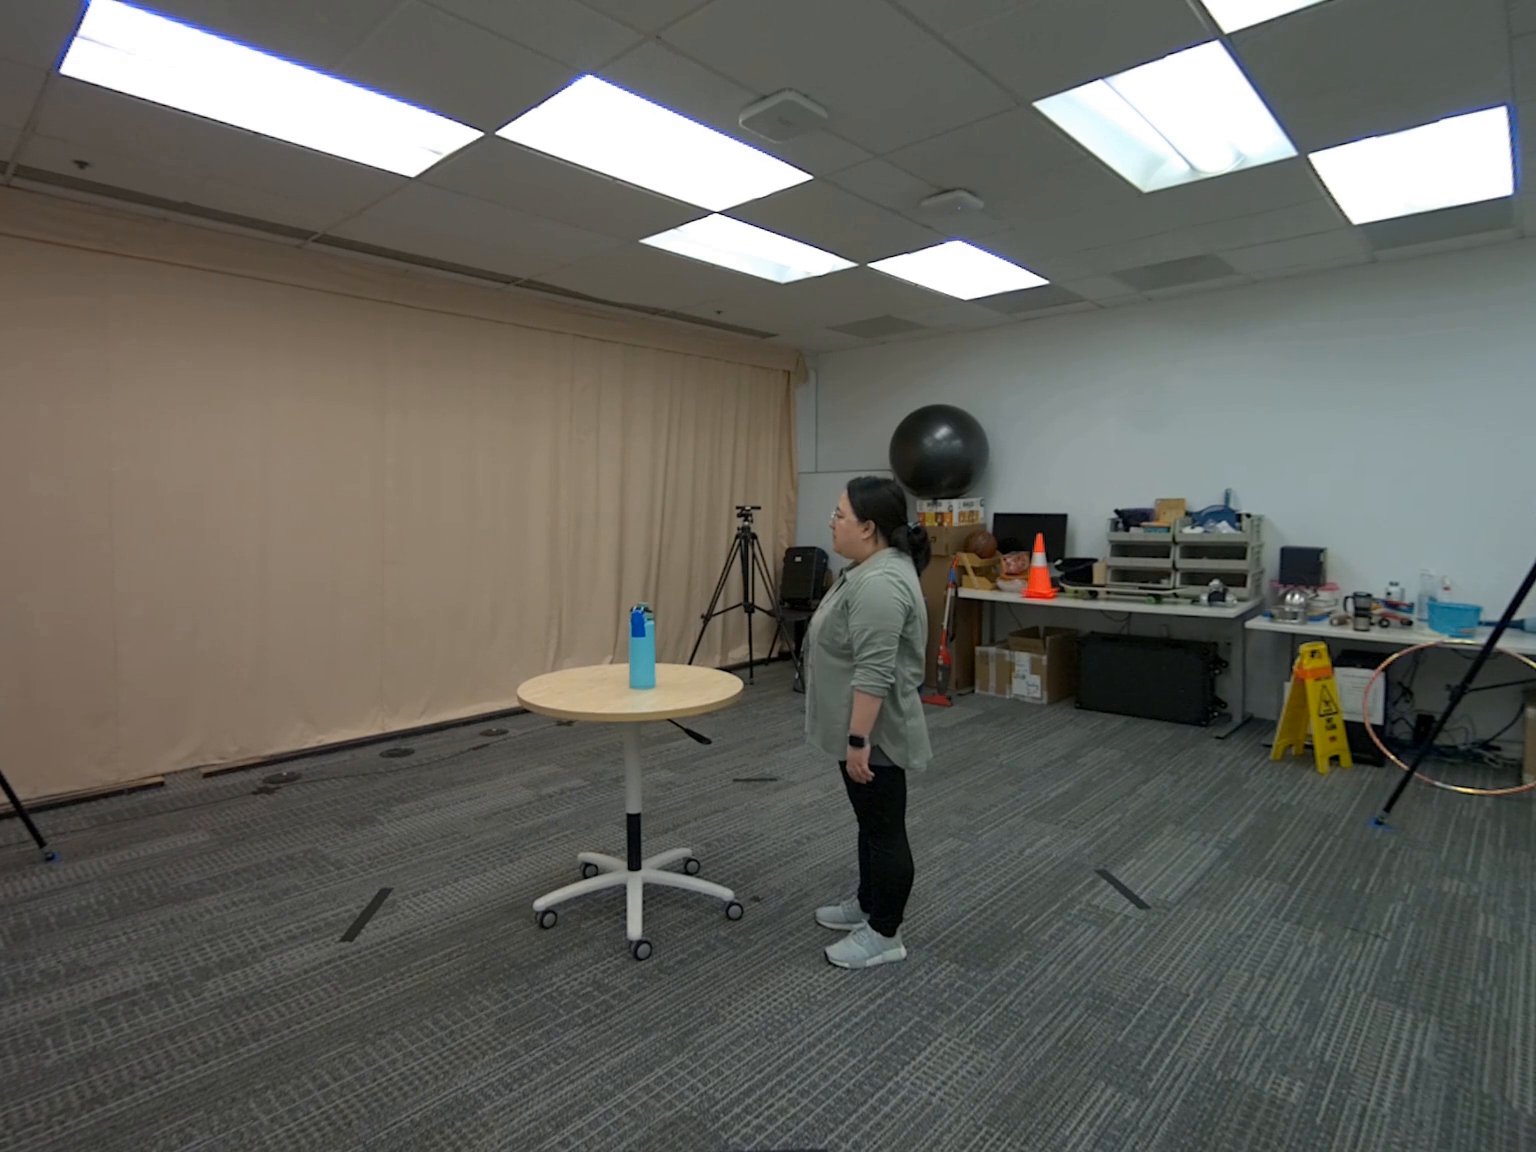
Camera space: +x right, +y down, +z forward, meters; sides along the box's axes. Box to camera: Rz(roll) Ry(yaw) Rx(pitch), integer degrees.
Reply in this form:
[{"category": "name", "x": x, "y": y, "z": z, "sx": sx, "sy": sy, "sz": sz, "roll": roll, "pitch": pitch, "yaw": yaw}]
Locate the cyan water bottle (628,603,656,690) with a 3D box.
[{"category": "cyan water bottle", "x": -0.435, "y": 0.237, "z": 2.843, "sx": 0.092, "sy": 0.283, "sz": 0.093, "roll": 0, "pitch": 4, "yaw": -2}]
